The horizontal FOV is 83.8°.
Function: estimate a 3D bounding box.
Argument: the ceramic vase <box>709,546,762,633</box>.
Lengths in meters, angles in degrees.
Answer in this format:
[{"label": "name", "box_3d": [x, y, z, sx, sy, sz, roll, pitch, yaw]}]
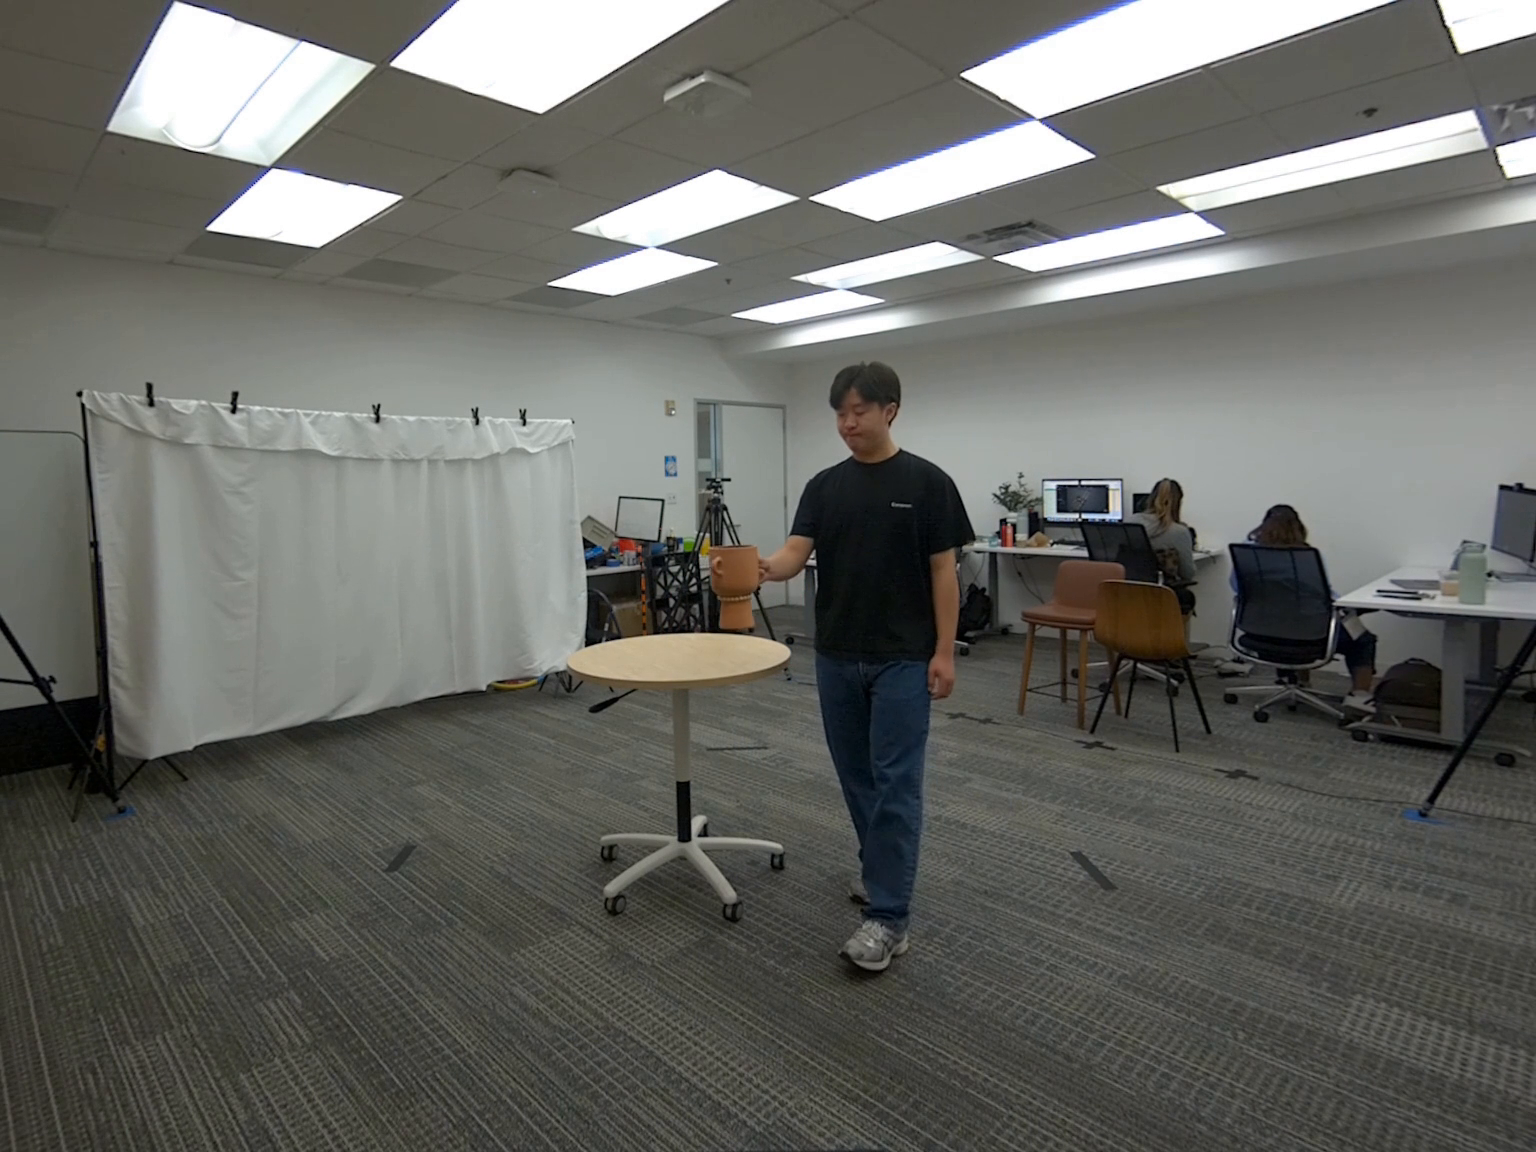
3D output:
[{"label": "ceramic vase", "box_3d": [-0.085, 0.028, 2.328, 0.155, 0.219, 0.138, -5, 5, -36]}]
